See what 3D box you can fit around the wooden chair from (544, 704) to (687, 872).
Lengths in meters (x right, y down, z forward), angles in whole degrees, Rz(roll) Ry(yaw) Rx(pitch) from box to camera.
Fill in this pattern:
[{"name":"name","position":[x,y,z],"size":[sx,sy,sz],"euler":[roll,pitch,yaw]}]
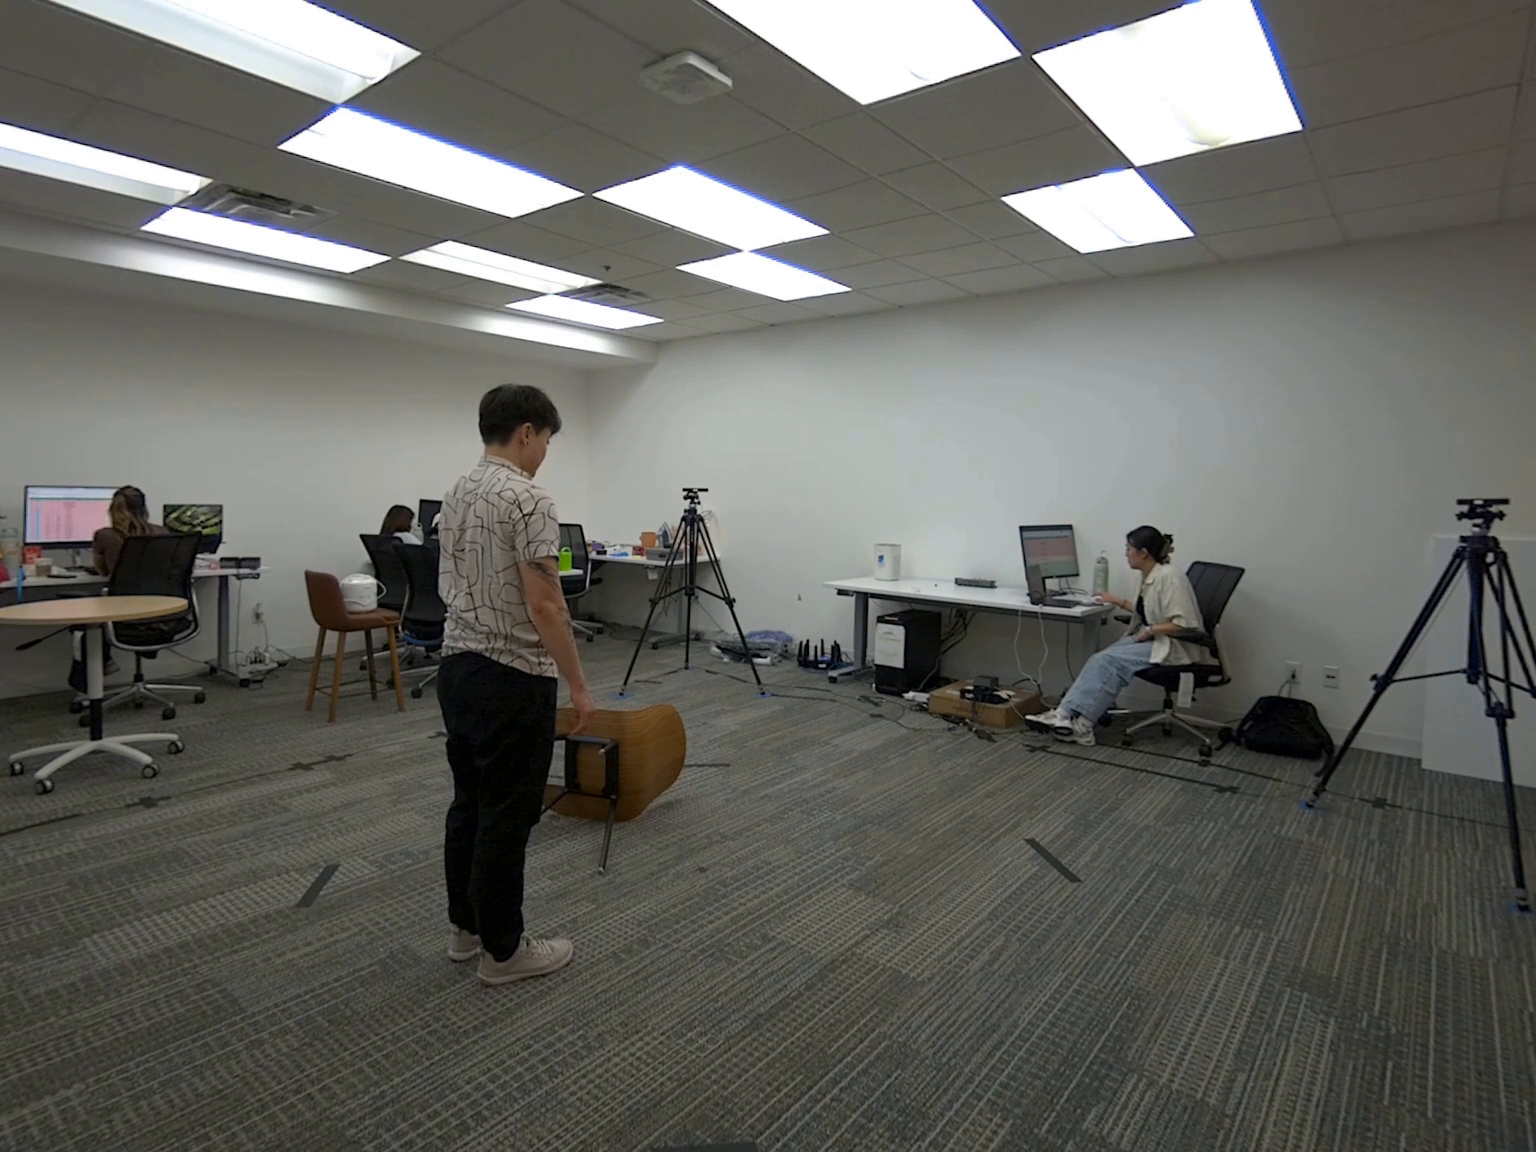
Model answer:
[{"name":"wooden chair","position":[-0.751,0.794,3.515],"size":[0.533,0.476,0.865],"euler":[2,6,16]}]
